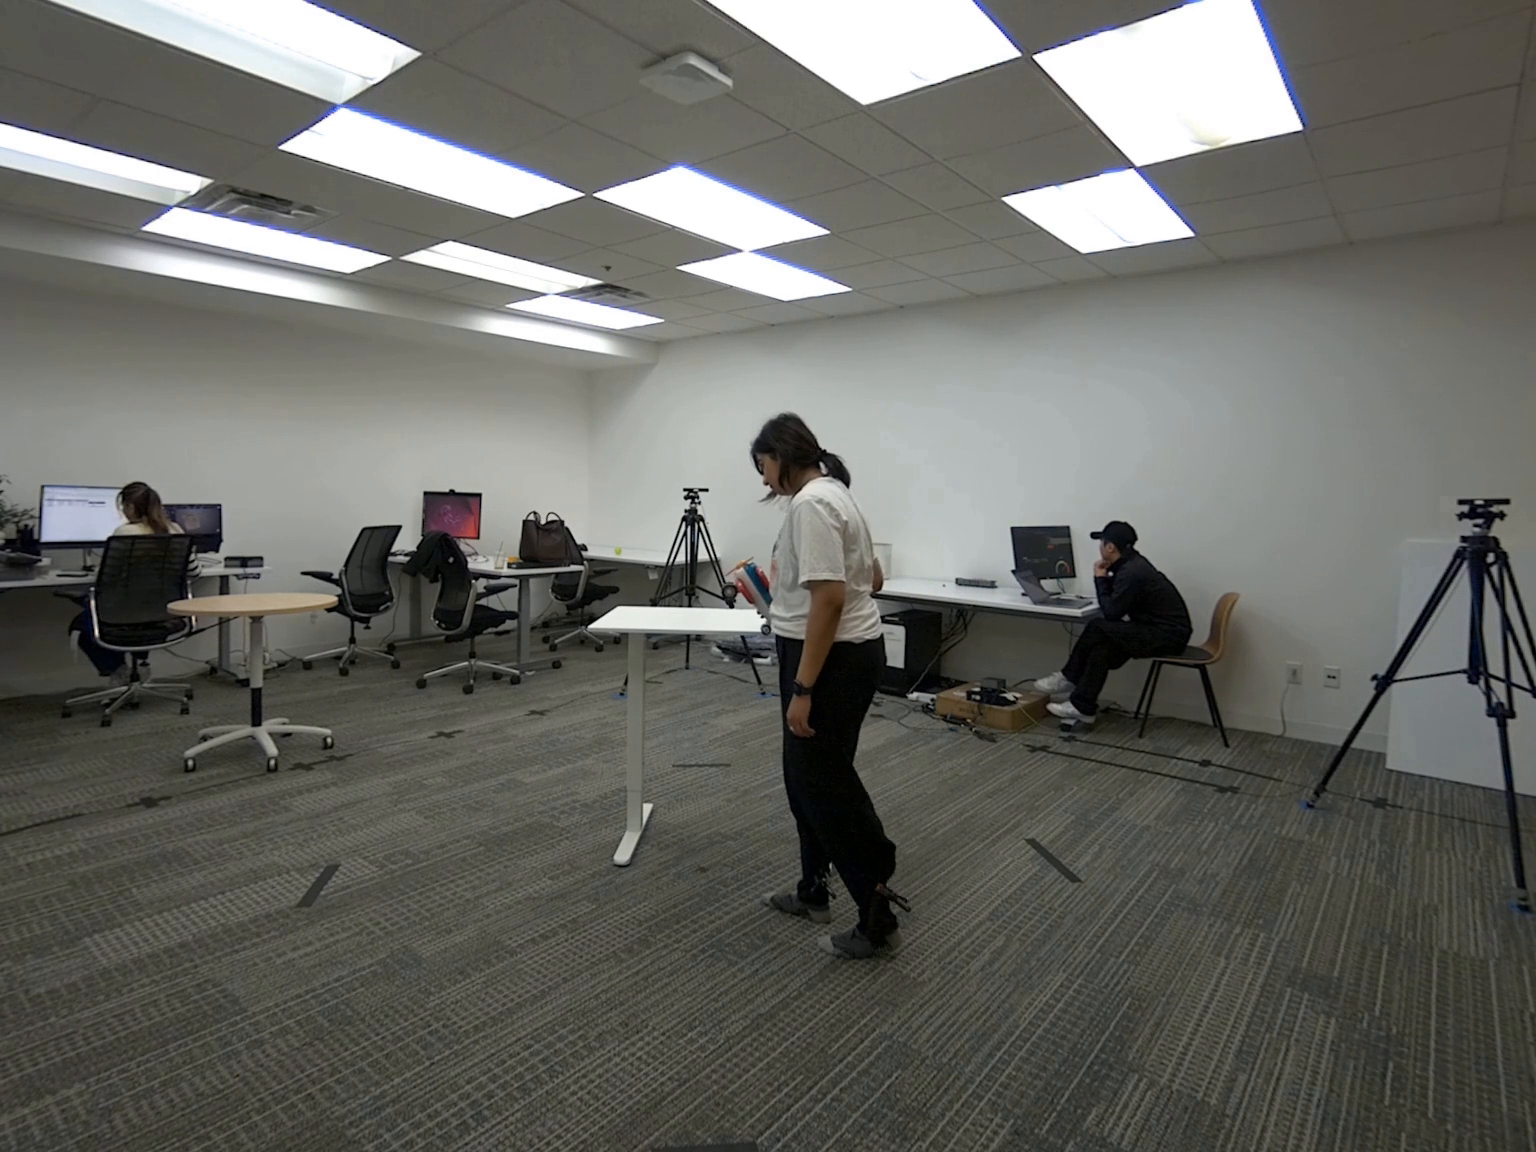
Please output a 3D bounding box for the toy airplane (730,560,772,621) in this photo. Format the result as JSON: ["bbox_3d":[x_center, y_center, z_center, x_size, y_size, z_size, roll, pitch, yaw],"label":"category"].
[{"bbox_3d":[-0.044,0.066,2.843,0.250,0.156,0.260,41,0,-28],"label":"toy airplane"}]
